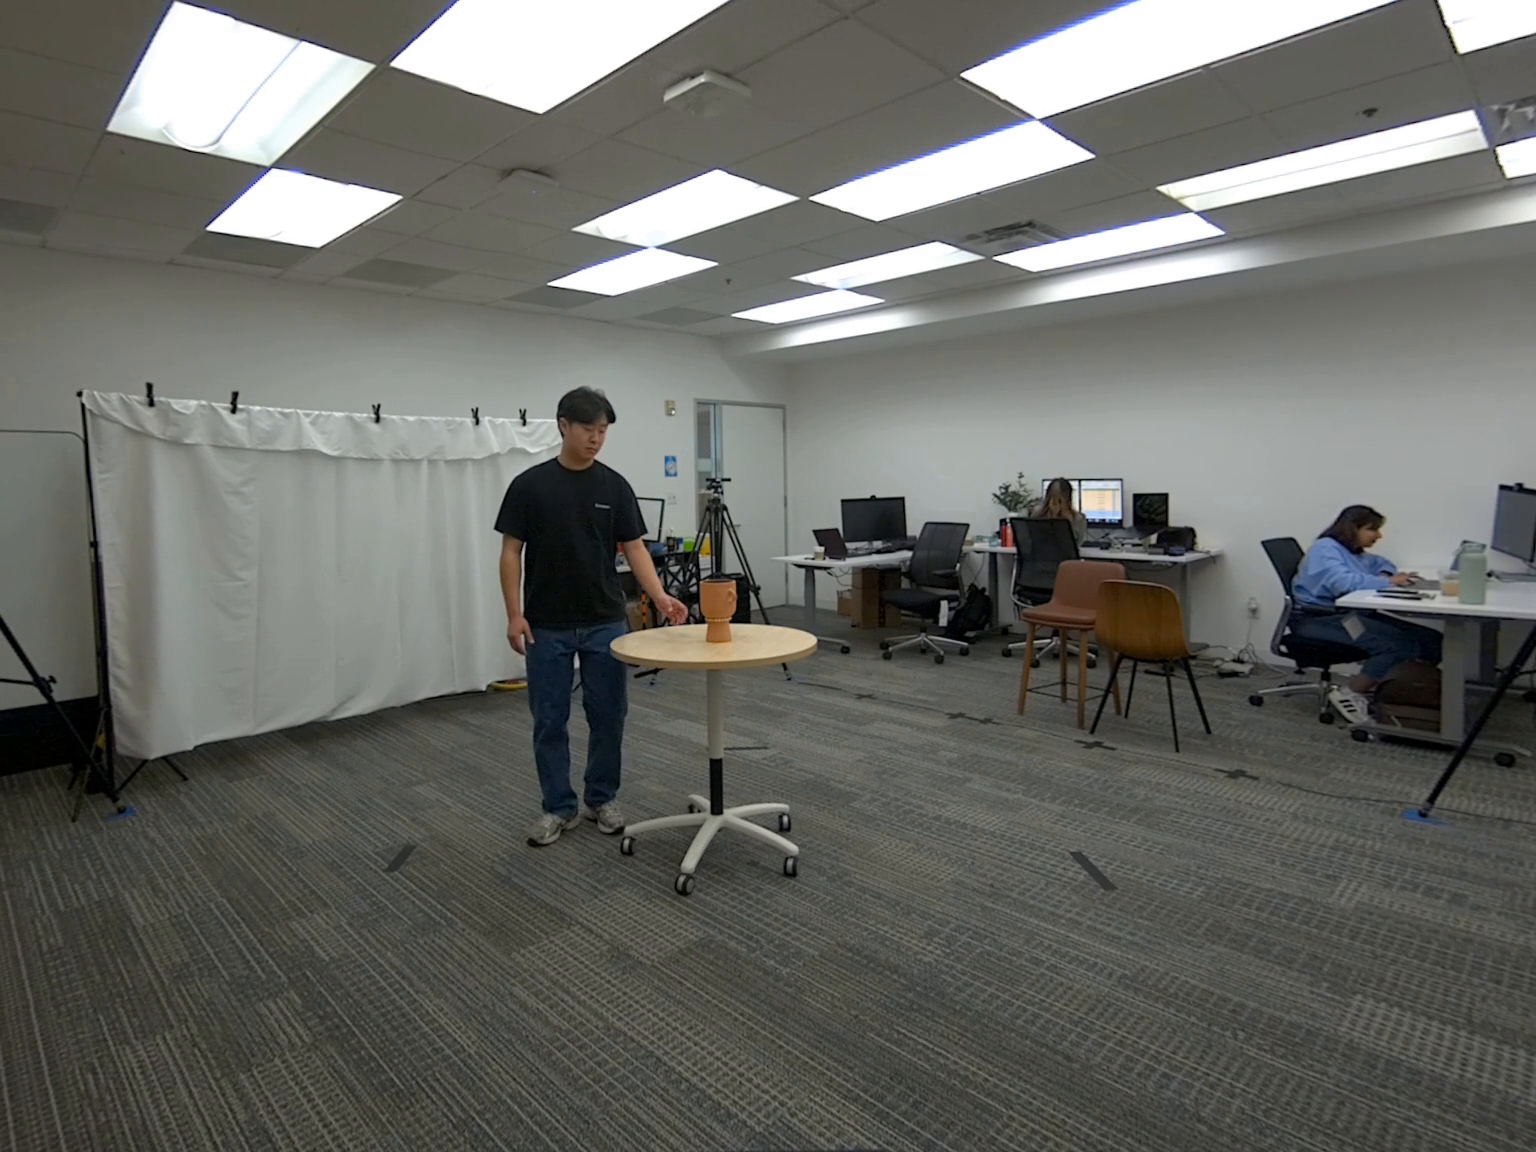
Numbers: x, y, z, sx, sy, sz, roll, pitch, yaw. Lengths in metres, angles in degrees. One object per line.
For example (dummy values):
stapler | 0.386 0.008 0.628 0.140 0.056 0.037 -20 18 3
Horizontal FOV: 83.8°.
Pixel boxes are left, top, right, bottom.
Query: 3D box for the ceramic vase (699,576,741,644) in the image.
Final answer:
ceramic vase | -0.182 0.133 3.171 0.134 0.219 0.160 0 4 -4
